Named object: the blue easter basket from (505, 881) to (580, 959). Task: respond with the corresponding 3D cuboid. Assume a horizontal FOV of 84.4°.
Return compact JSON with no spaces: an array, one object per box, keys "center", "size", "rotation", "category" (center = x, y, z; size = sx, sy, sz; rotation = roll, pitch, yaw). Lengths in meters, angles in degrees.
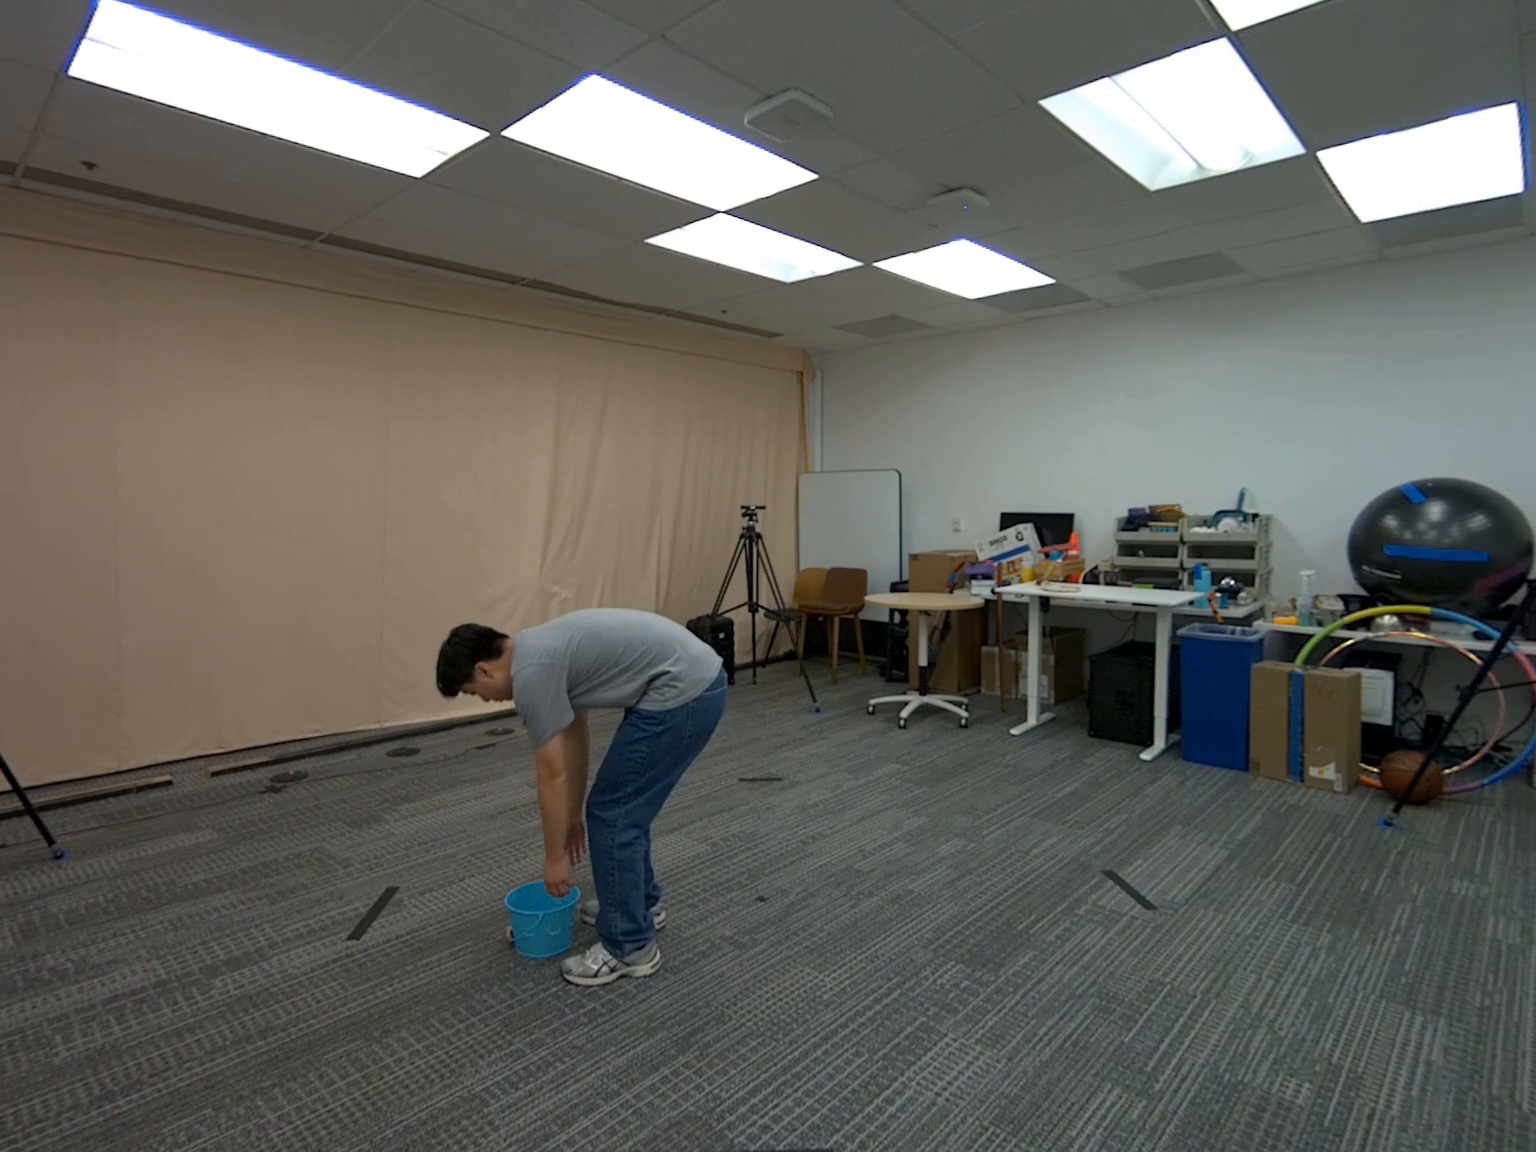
[{"center":[-0.720,1.097,2.685],"size":[0.243,0.155,0.244],"rotation":[0,3,-2],"category":"blue easter basket"}]
